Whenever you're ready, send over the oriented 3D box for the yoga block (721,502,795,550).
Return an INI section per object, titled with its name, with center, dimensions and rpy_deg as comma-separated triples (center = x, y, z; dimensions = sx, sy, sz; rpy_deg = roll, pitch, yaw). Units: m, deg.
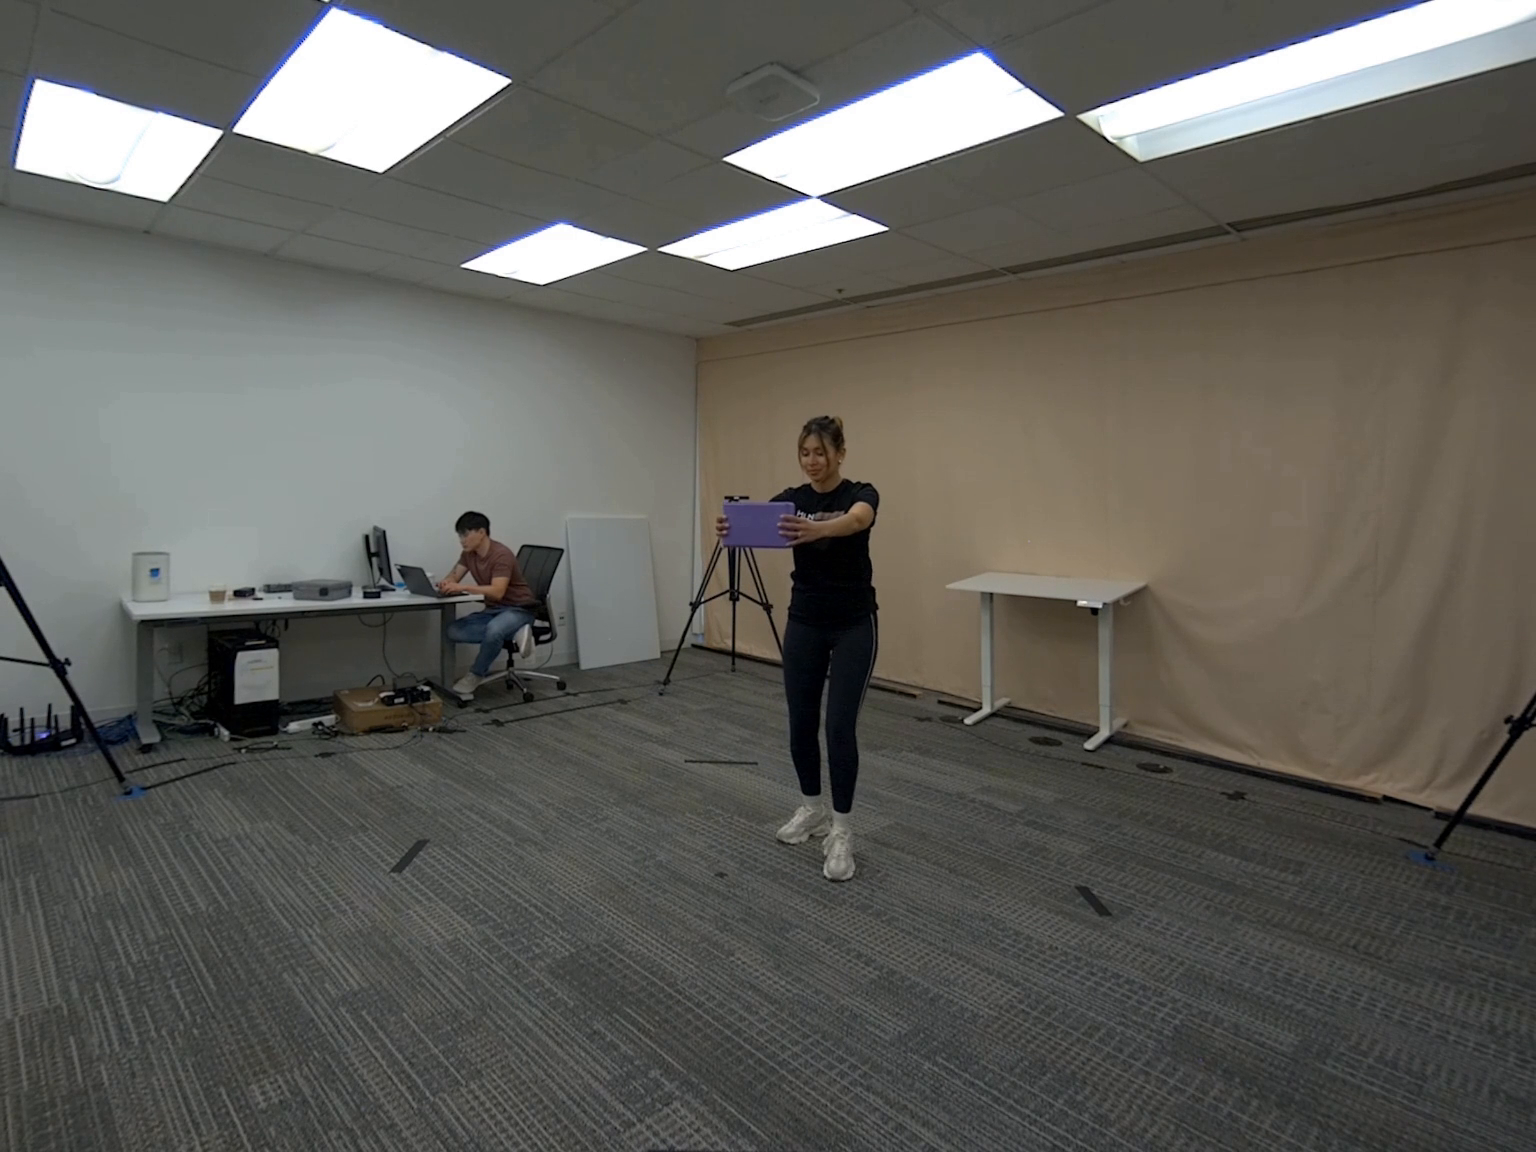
[yoga block]
center = -0.031, -0.163, 2.738
dimensions = 0.233, 0.149, 0.075
rpy_deg = 1, 1, 22
